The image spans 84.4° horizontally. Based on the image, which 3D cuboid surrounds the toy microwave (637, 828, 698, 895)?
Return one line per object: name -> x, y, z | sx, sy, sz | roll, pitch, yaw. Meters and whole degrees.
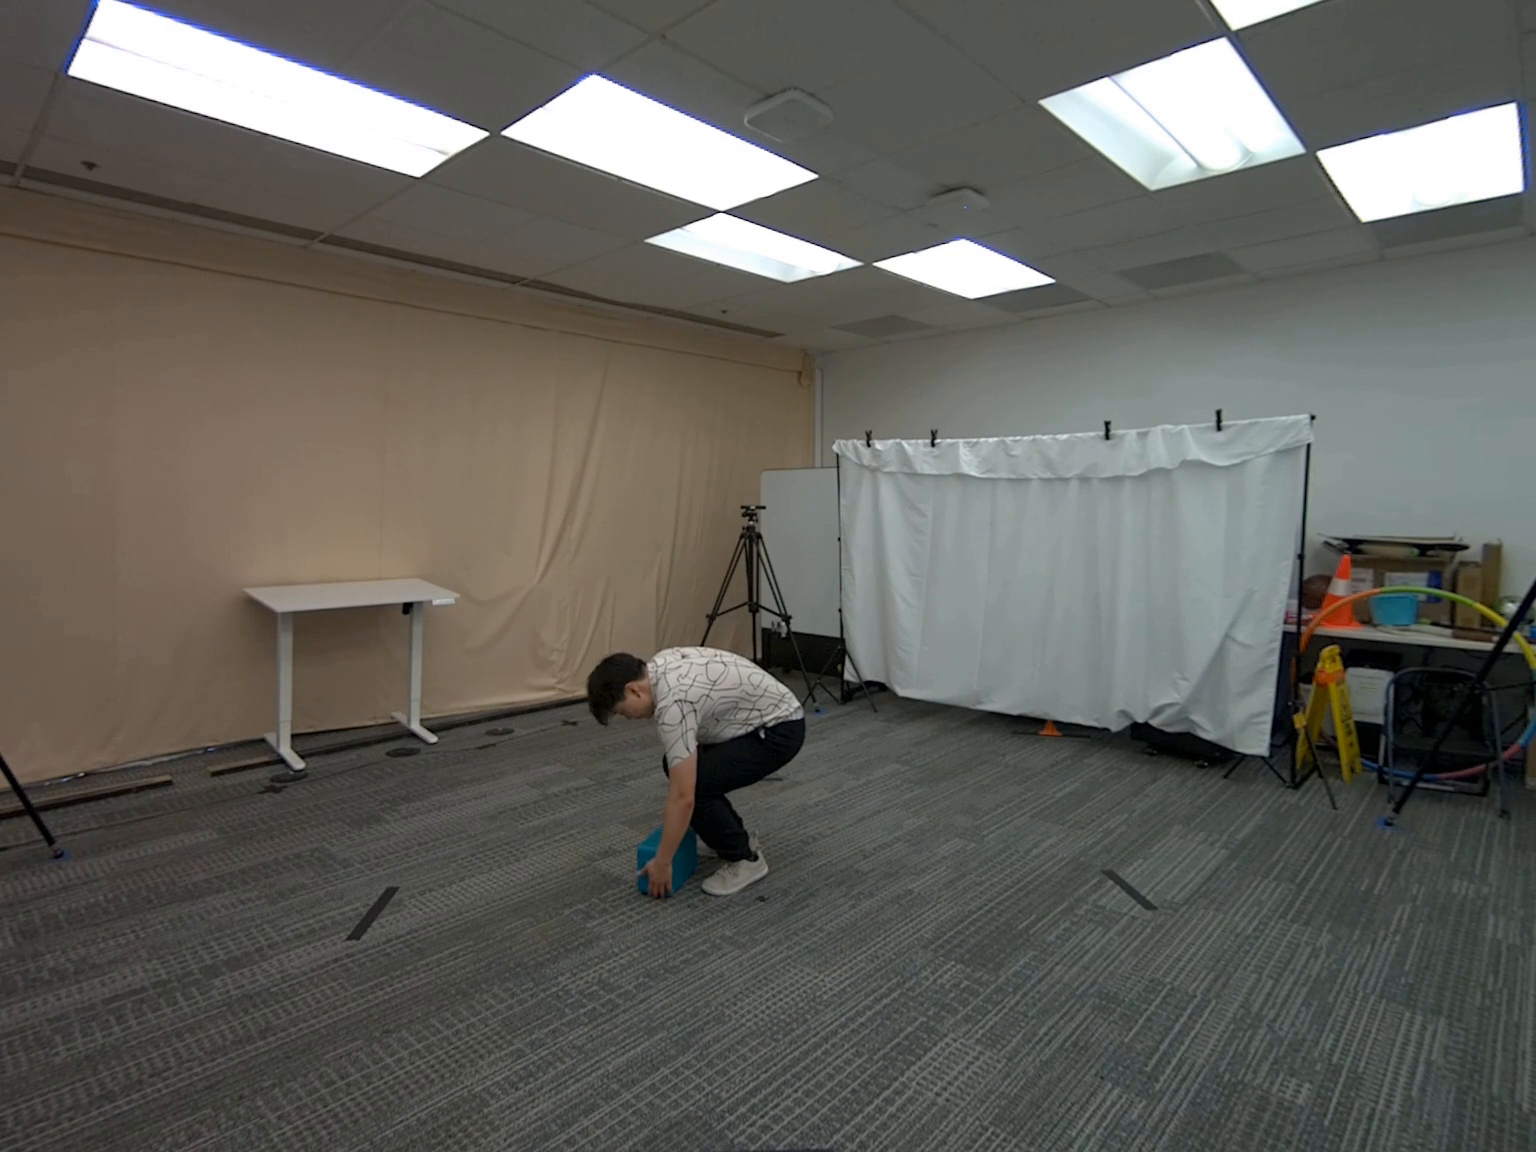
toy microwave -> -0.373, 1.040, 3.127 | 0.155, 0.184, 0.281 | 0, 4, 18
